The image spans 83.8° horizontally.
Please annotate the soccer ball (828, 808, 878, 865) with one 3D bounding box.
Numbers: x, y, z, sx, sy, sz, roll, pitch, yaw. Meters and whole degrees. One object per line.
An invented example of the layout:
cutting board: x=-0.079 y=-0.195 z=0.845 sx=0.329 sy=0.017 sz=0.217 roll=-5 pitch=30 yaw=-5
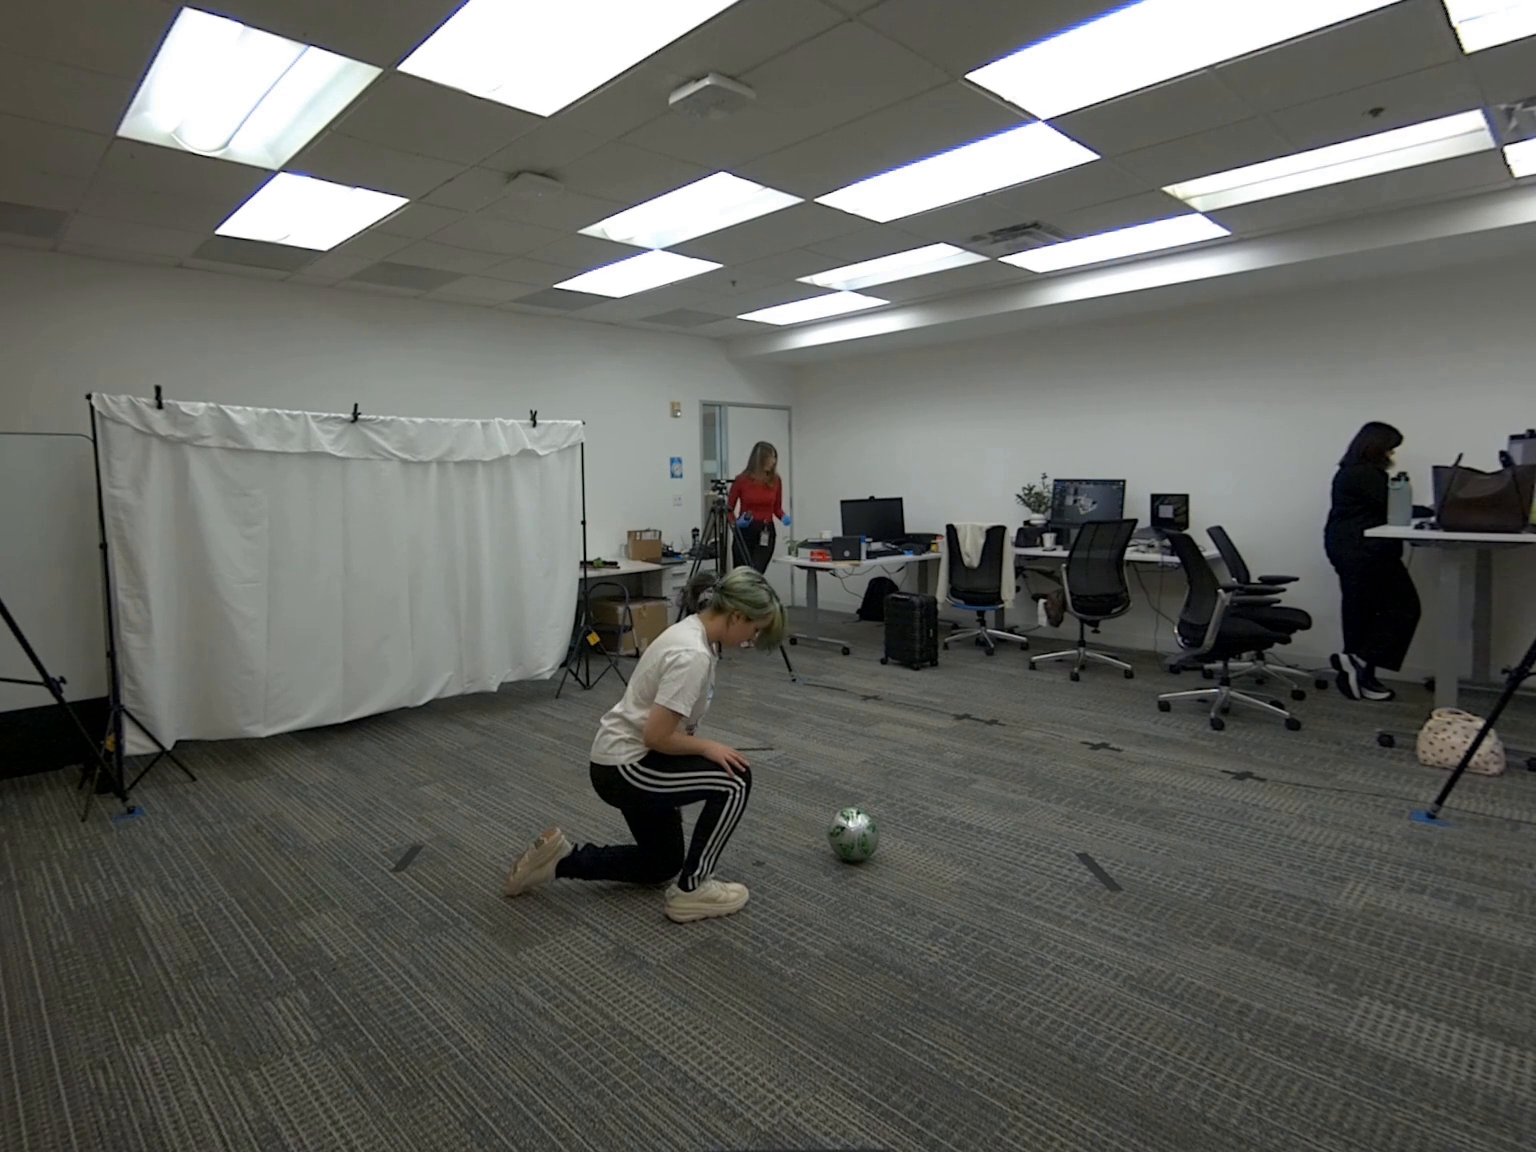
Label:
soccer ball: x=0.312 y=0.949 z=3.125 sx=0.187 sy=0.187 sz=0.188 roll=-1 pitch=5 yaw=-2
